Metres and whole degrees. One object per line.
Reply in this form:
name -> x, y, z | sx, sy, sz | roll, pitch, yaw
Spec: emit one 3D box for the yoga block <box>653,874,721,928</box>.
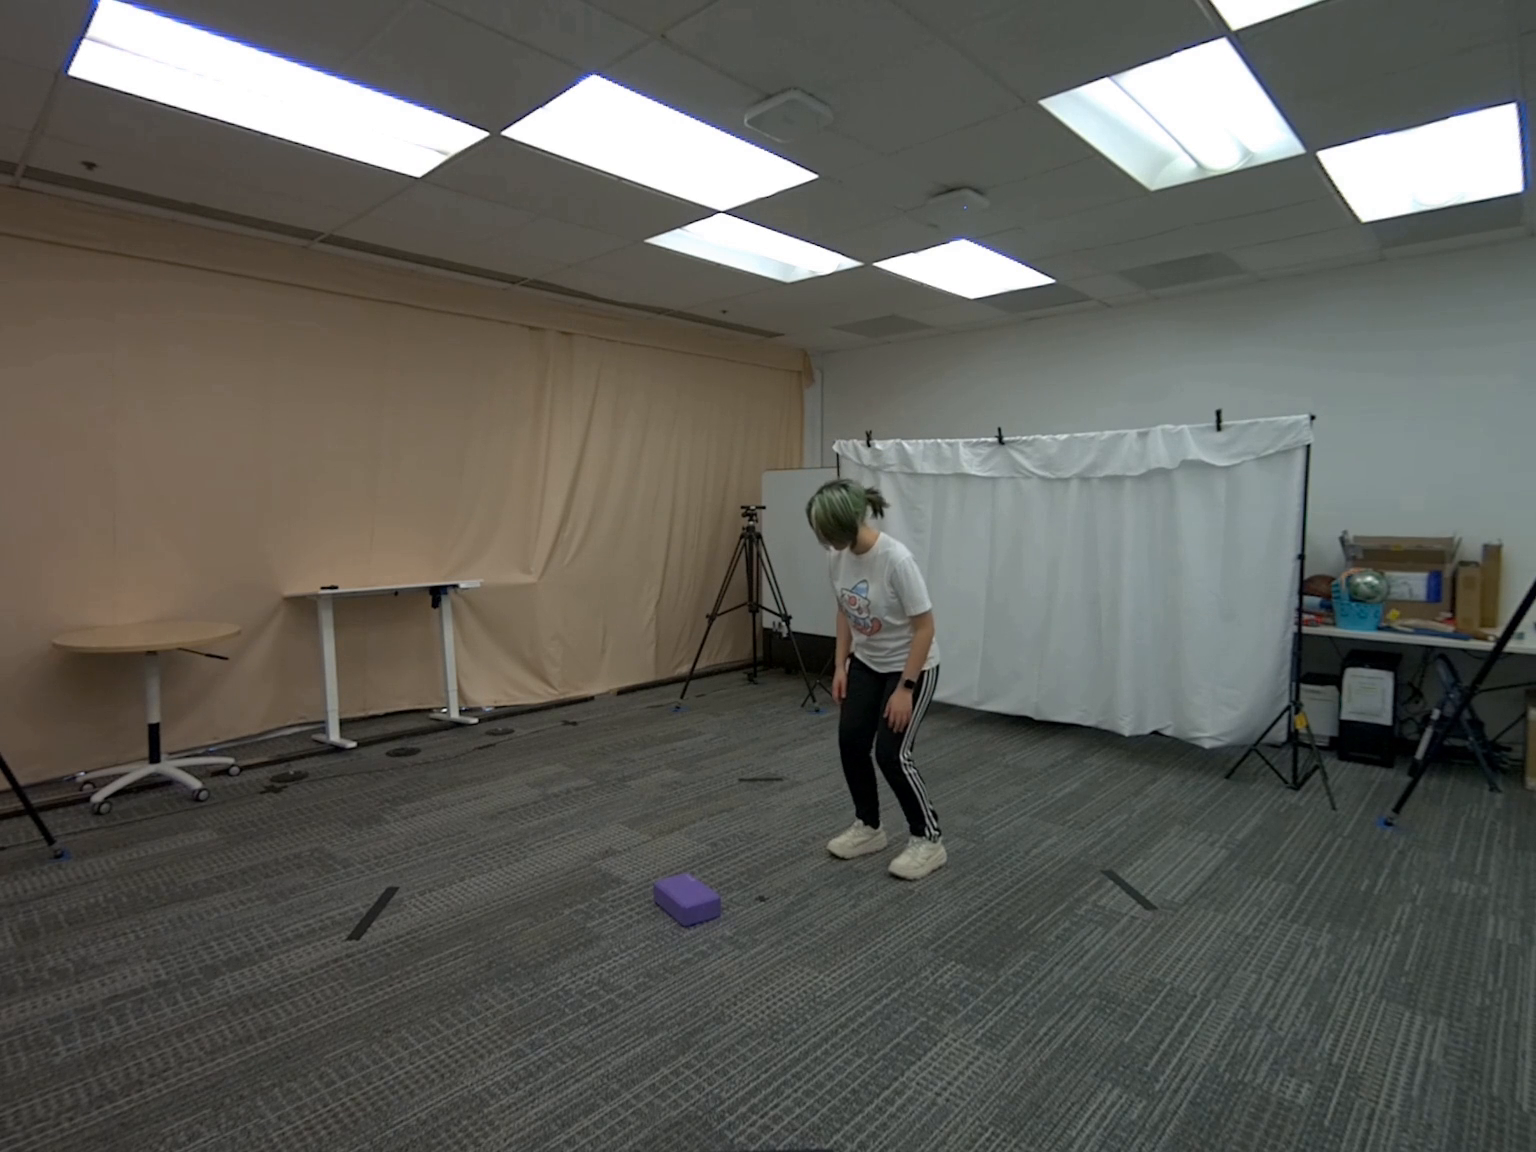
yoga block -> -0.280, 1.112, 2.903 | 0.145, 0.076, 0.236 | -4, 7, -33
